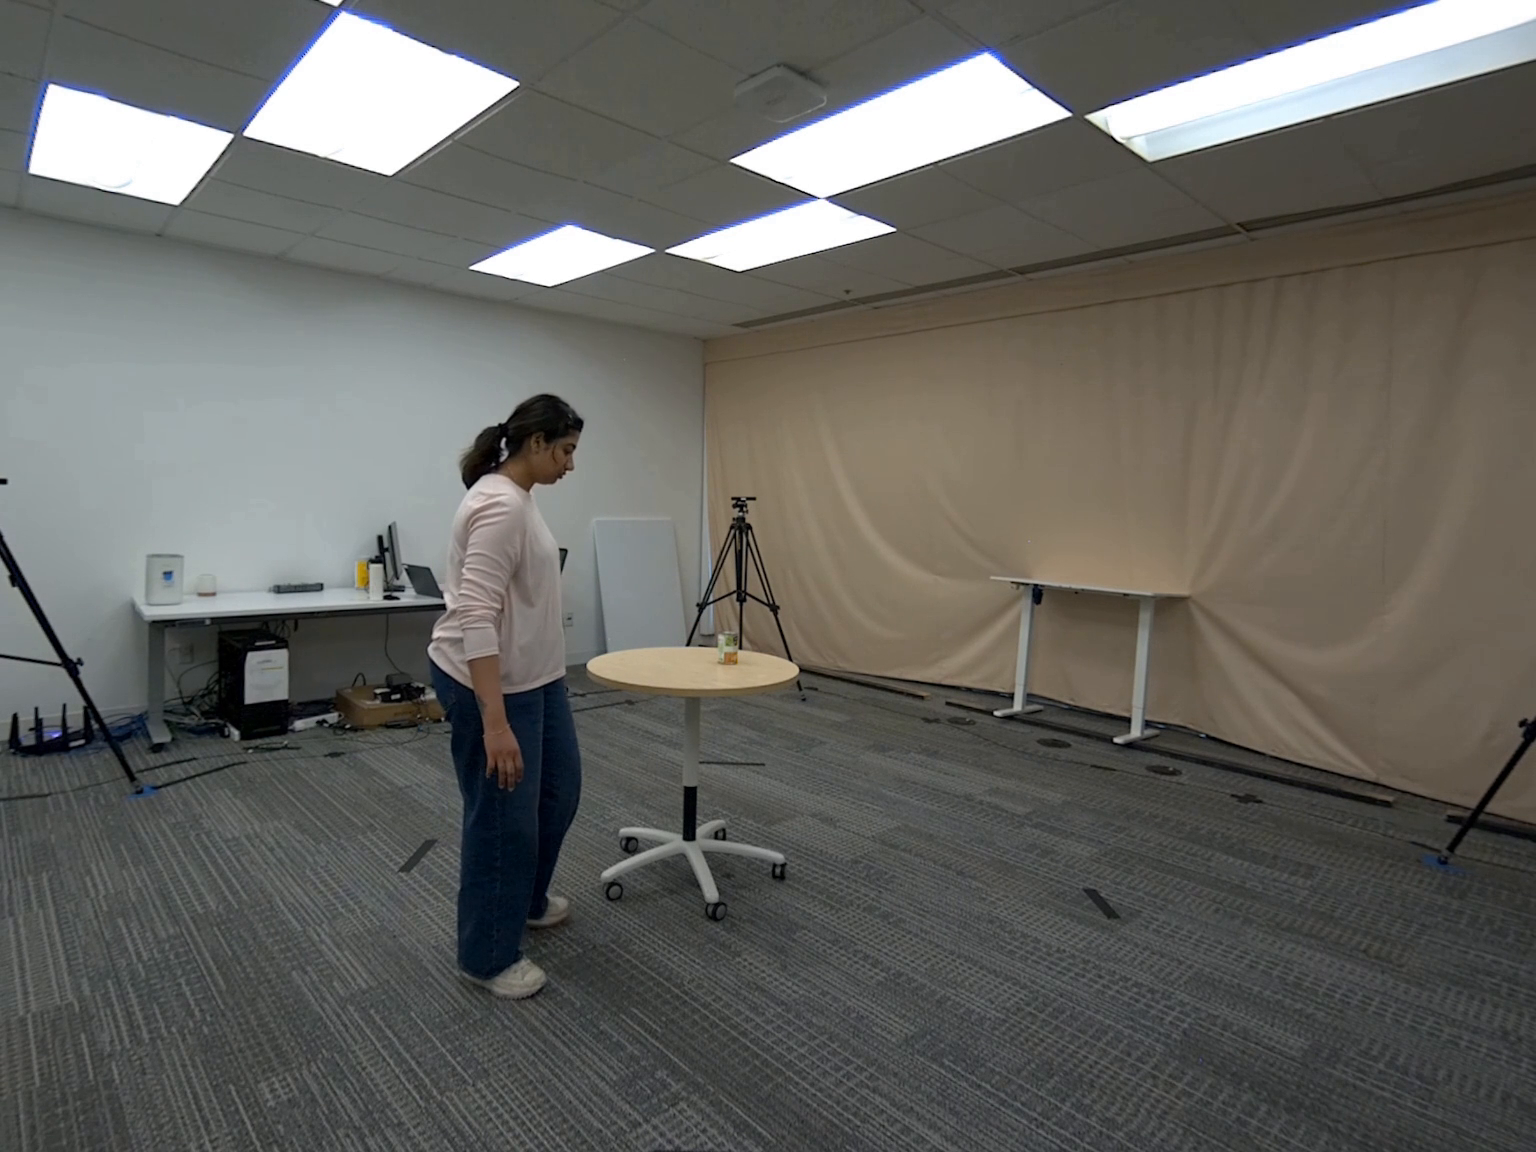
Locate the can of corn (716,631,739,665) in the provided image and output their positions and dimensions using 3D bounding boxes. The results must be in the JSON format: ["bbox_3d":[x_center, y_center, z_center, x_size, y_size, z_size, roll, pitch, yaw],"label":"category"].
[{"bbox_3d":[-0.155,0.268,3.115,0.074,0.111,0.074,0,3,-1],"label":"can of corn"}]
